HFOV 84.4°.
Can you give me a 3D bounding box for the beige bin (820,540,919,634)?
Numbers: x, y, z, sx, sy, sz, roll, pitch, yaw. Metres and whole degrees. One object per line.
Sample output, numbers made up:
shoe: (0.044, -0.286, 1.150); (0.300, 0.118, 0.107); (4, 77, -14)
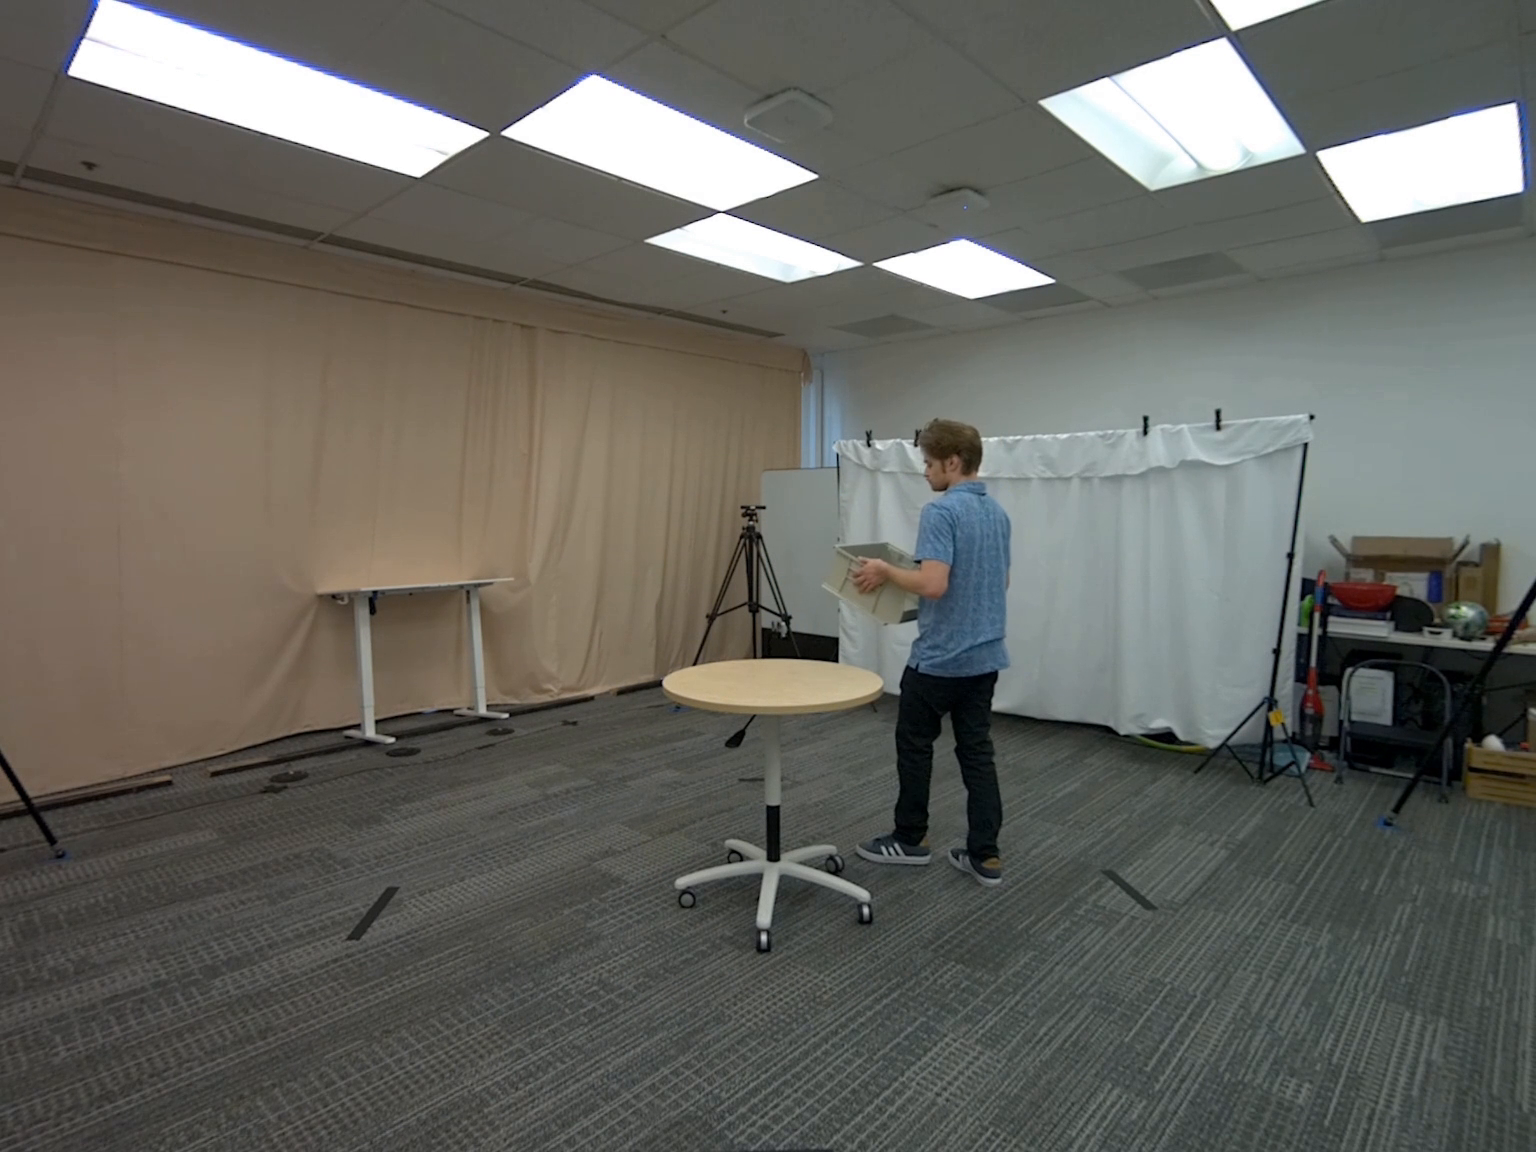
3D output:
beige bin: (0.502, 0.030, 3.401); (0.390, 0.188, 0.410); (31, 22, 32)
